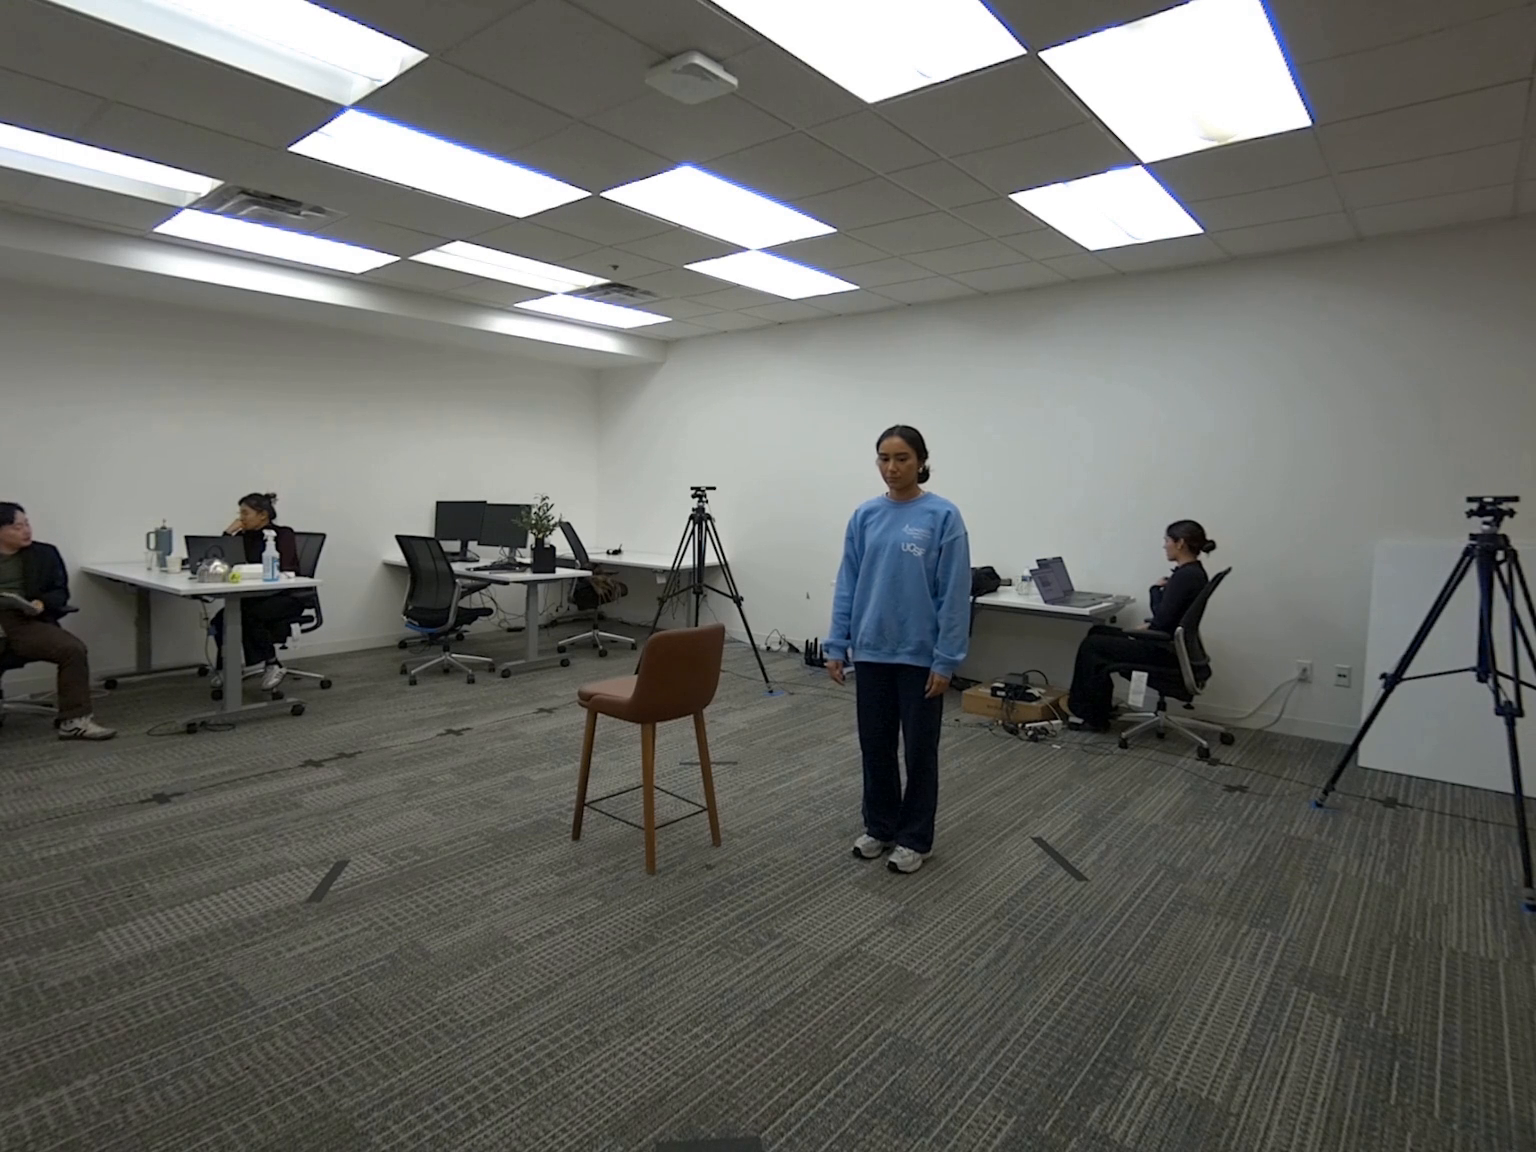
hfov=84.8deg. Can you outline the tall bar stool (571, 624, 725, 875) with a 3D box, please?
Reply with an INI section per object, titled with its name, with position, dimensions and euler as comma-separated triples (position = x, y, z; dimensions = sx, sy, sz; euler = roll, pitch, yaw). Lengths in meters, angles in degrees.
[tall bar stool]
position = -0.470, 0.607, 3.311
dimensions = 0.484, 0.887, 0.442
euler = 6, 5, 42
